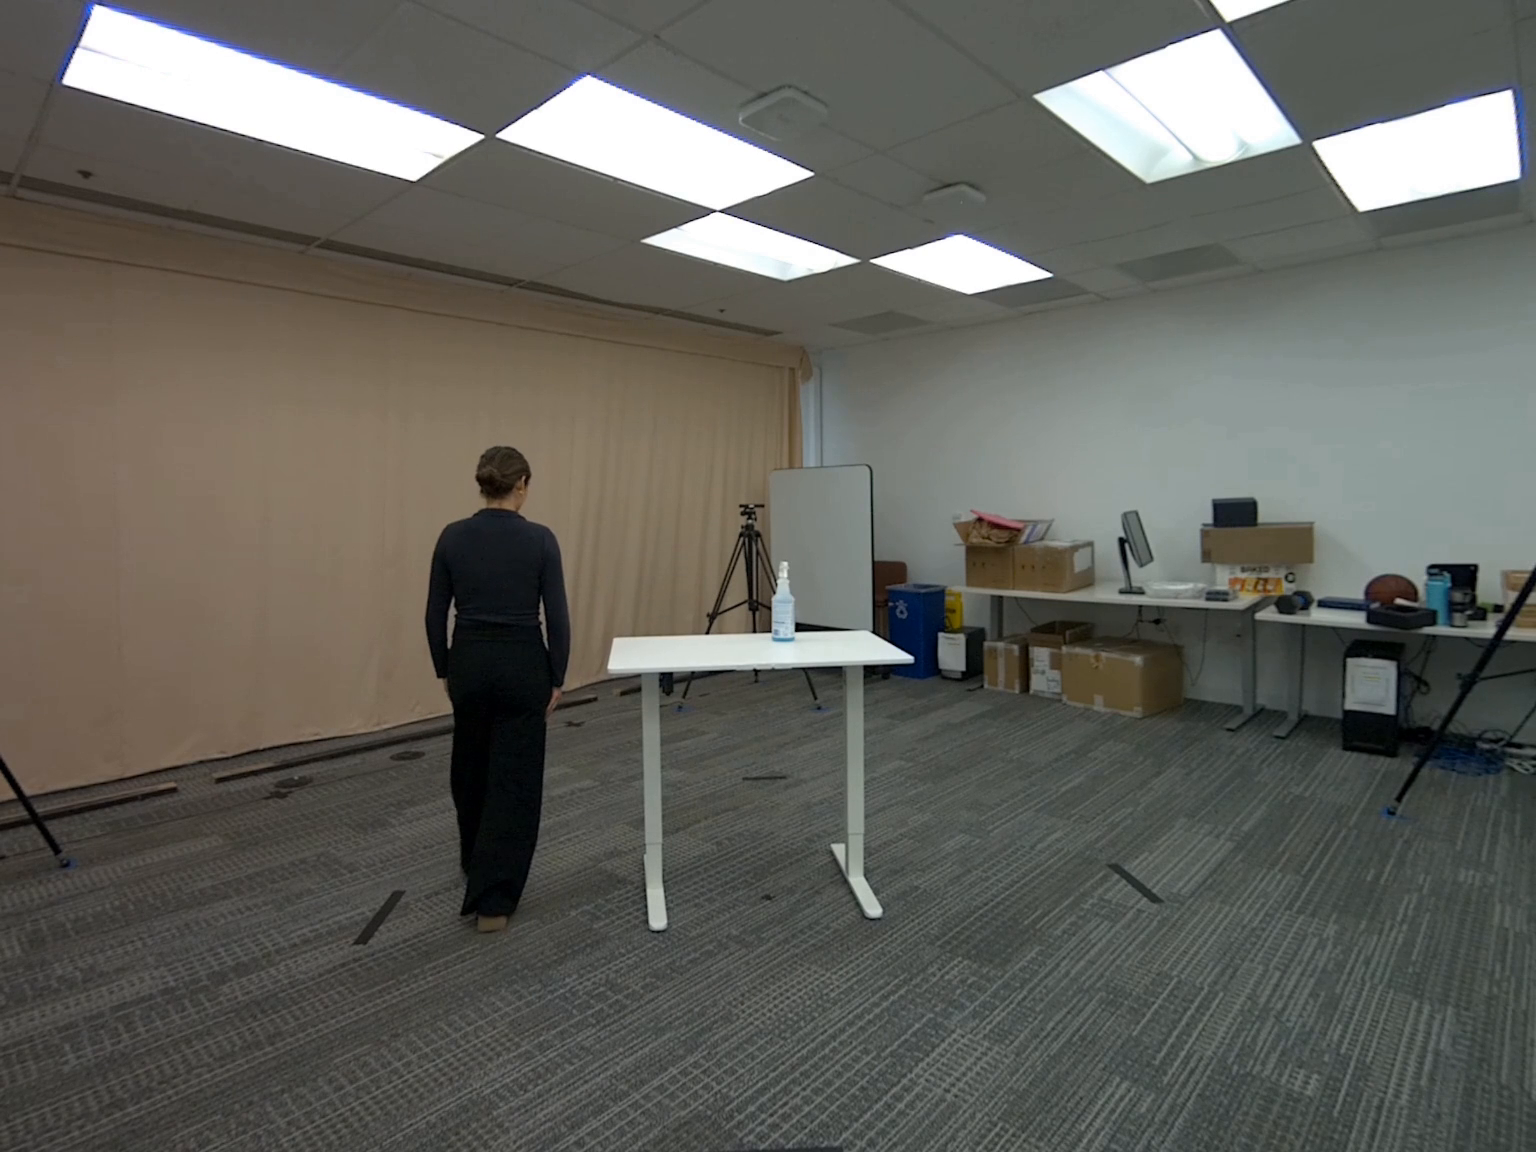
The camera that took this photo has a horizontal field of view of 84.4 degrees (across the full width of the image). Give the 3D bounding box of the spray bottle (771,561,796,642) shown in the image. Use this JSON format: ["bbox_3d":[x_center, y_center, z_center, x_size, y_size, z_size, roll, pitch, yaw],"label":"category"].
[{"bbox_3d":[0.058,0.096,3.146,0.088,0.296,0.089,1,6,16],"label":"spray bottle"}]
